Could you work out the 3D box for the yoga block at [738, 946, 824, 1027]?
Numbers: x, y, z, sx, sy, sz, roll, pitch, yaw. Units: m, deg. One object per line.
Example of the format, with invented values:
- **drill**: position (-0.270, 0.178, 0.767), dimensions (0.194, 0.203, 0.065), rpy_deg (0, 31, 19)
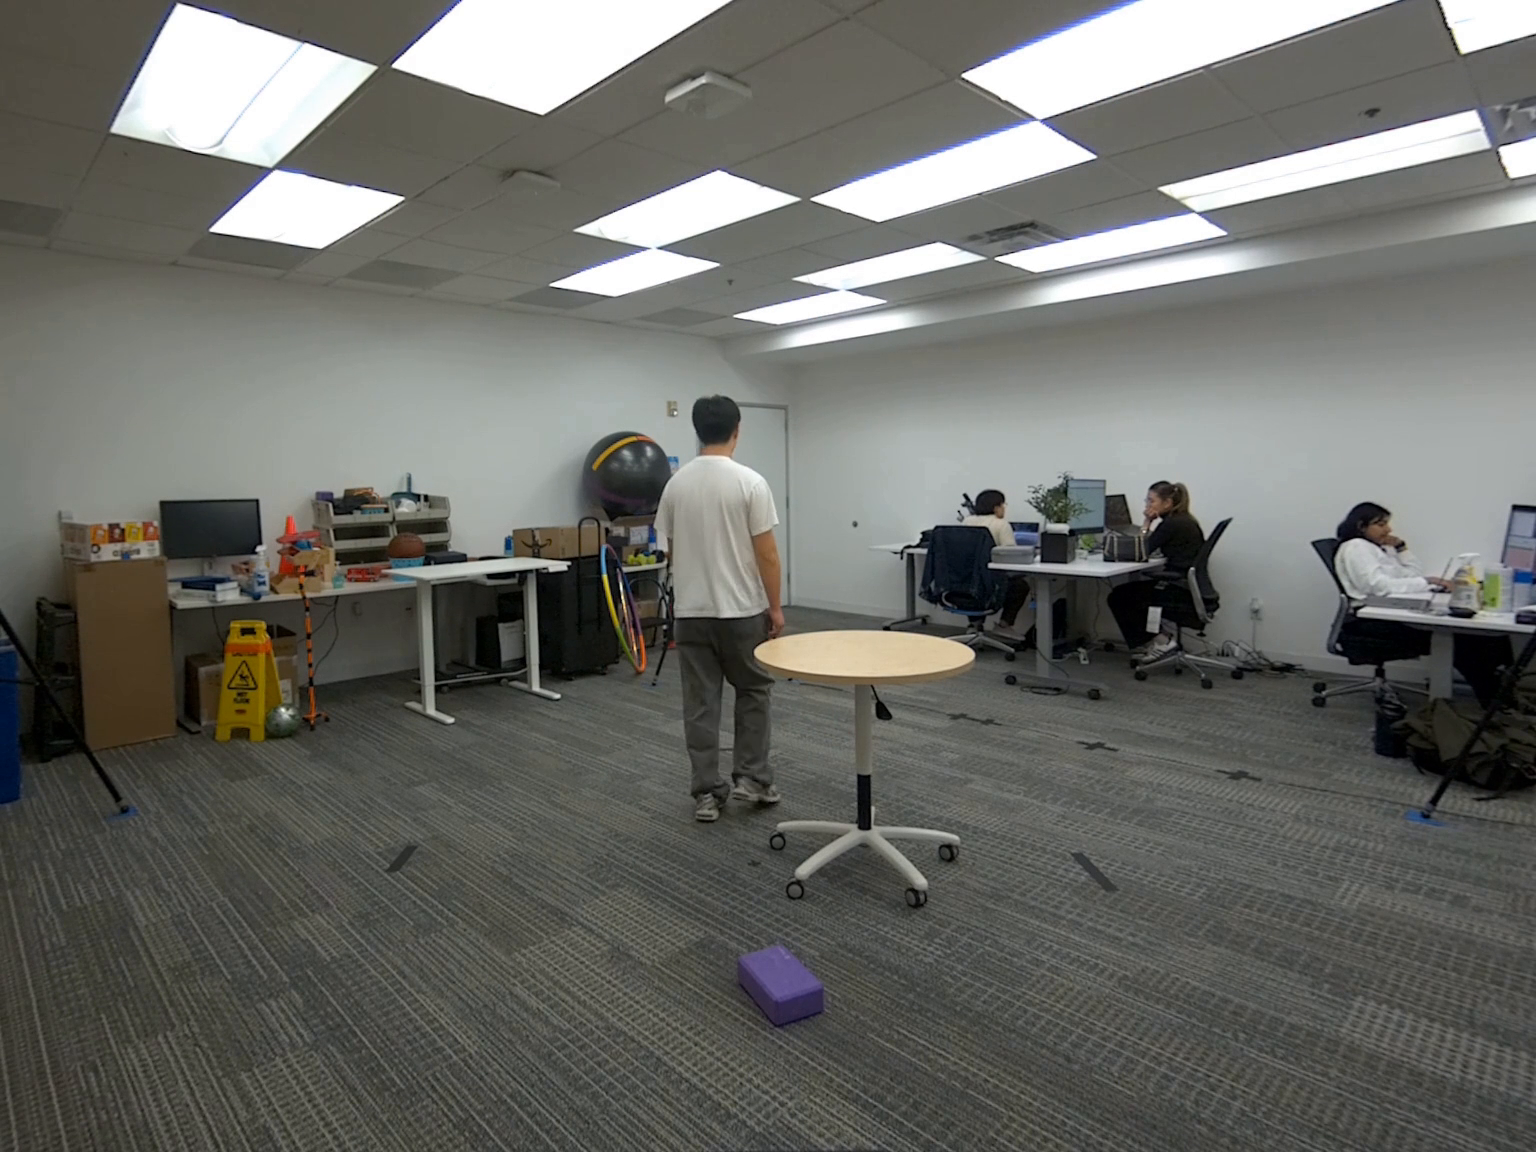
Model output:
- **yoga block**: position (0.035, 1.107, 2.309), dimensions (0.146, 0.076, 0.235), rpy_deg (-4, 7, -27)
